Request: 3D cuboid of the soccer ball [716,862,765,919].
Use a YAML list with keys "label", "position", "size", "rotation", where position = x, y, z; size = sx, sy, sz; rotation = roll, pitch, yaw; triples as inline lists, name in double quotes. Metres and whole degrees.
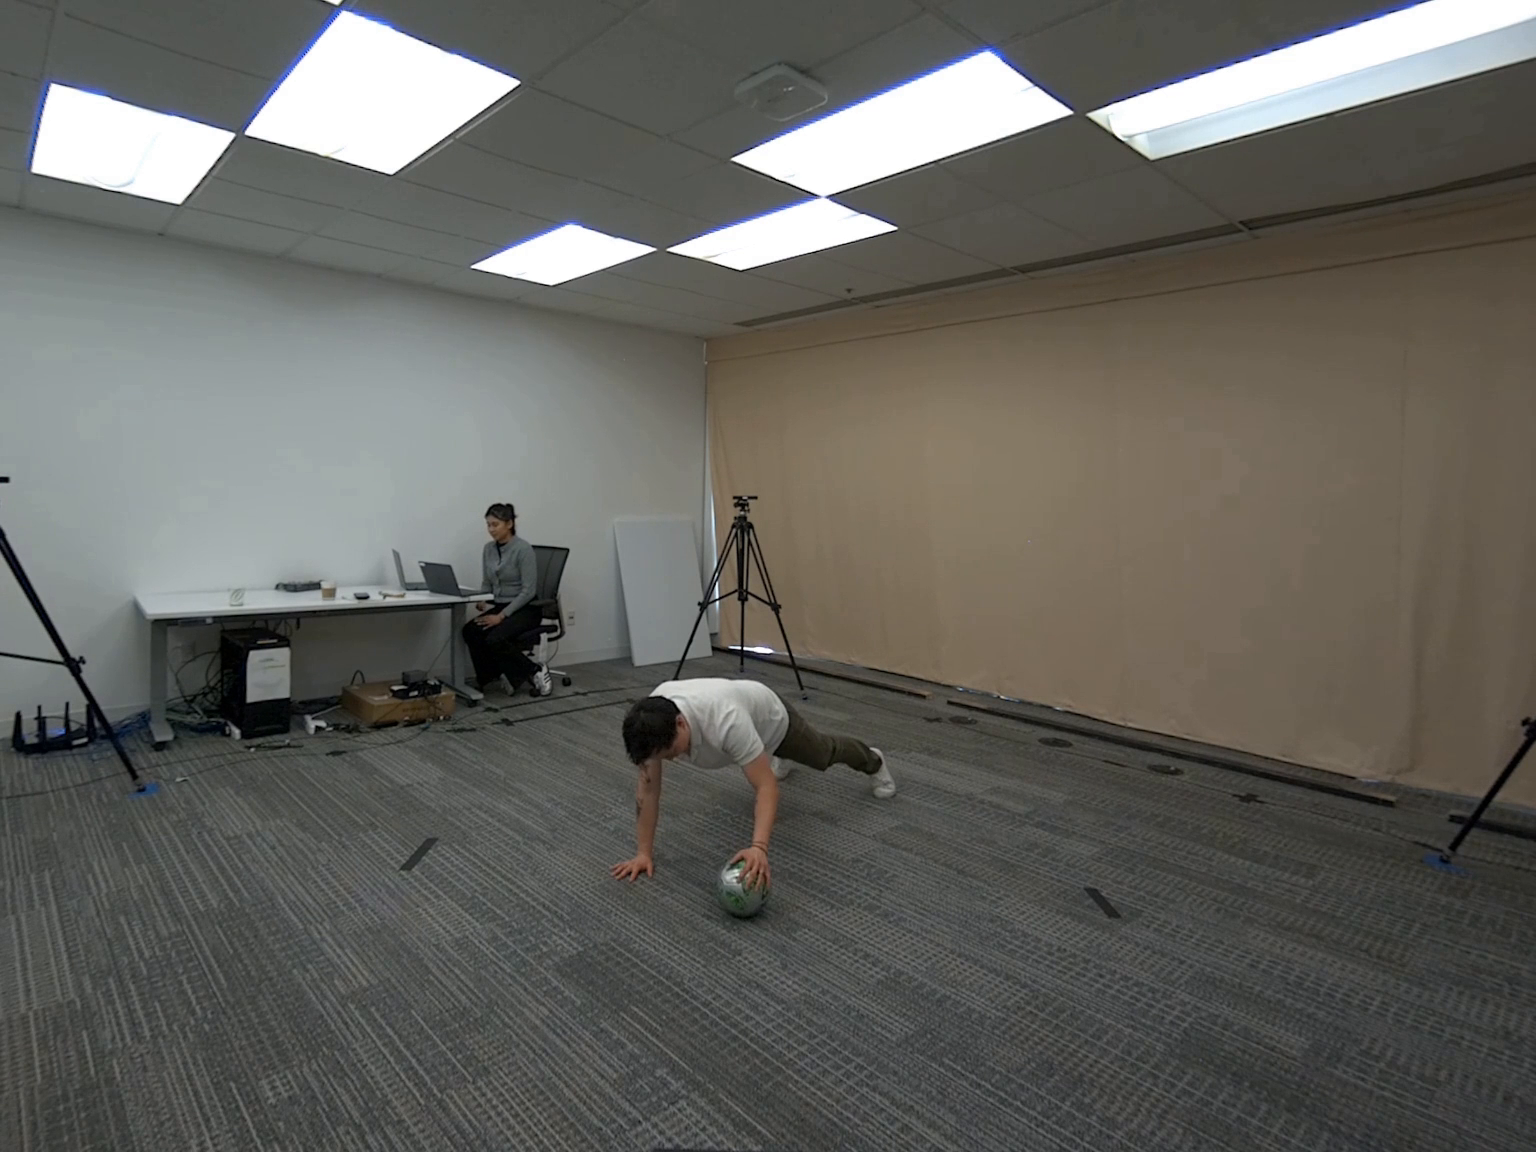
- label: "soccer ball"
  position: [-0.100, 1.038, 2.815]
  size: [0.187, 0.187, 0.188]
  rotation: [1, 4, -1]
